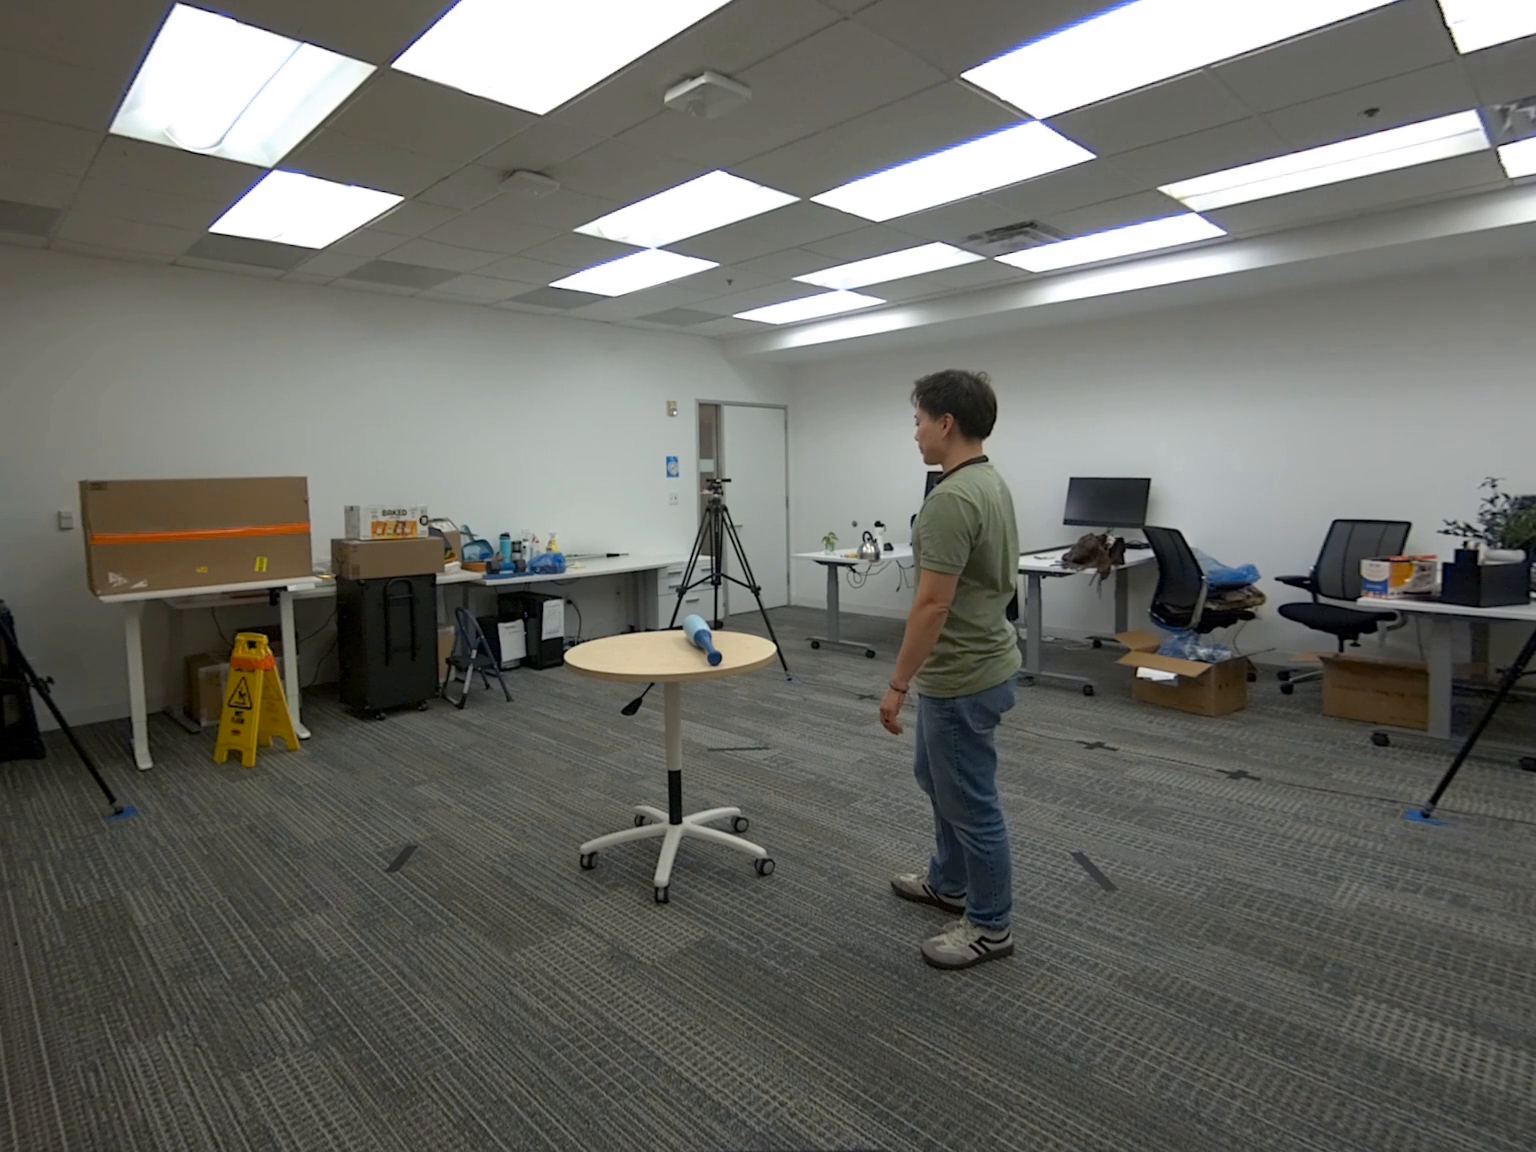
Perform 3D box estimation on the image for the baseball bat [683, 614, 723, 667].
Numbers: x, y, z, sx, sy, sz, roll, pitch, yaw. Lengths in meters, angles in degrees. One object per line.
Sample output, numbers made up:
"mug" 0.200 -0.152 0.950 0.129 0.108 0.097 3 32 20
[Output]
"baseball bat" -0.230 0.229 3.068 0.088 0.088 0.552 -2 9 -11
